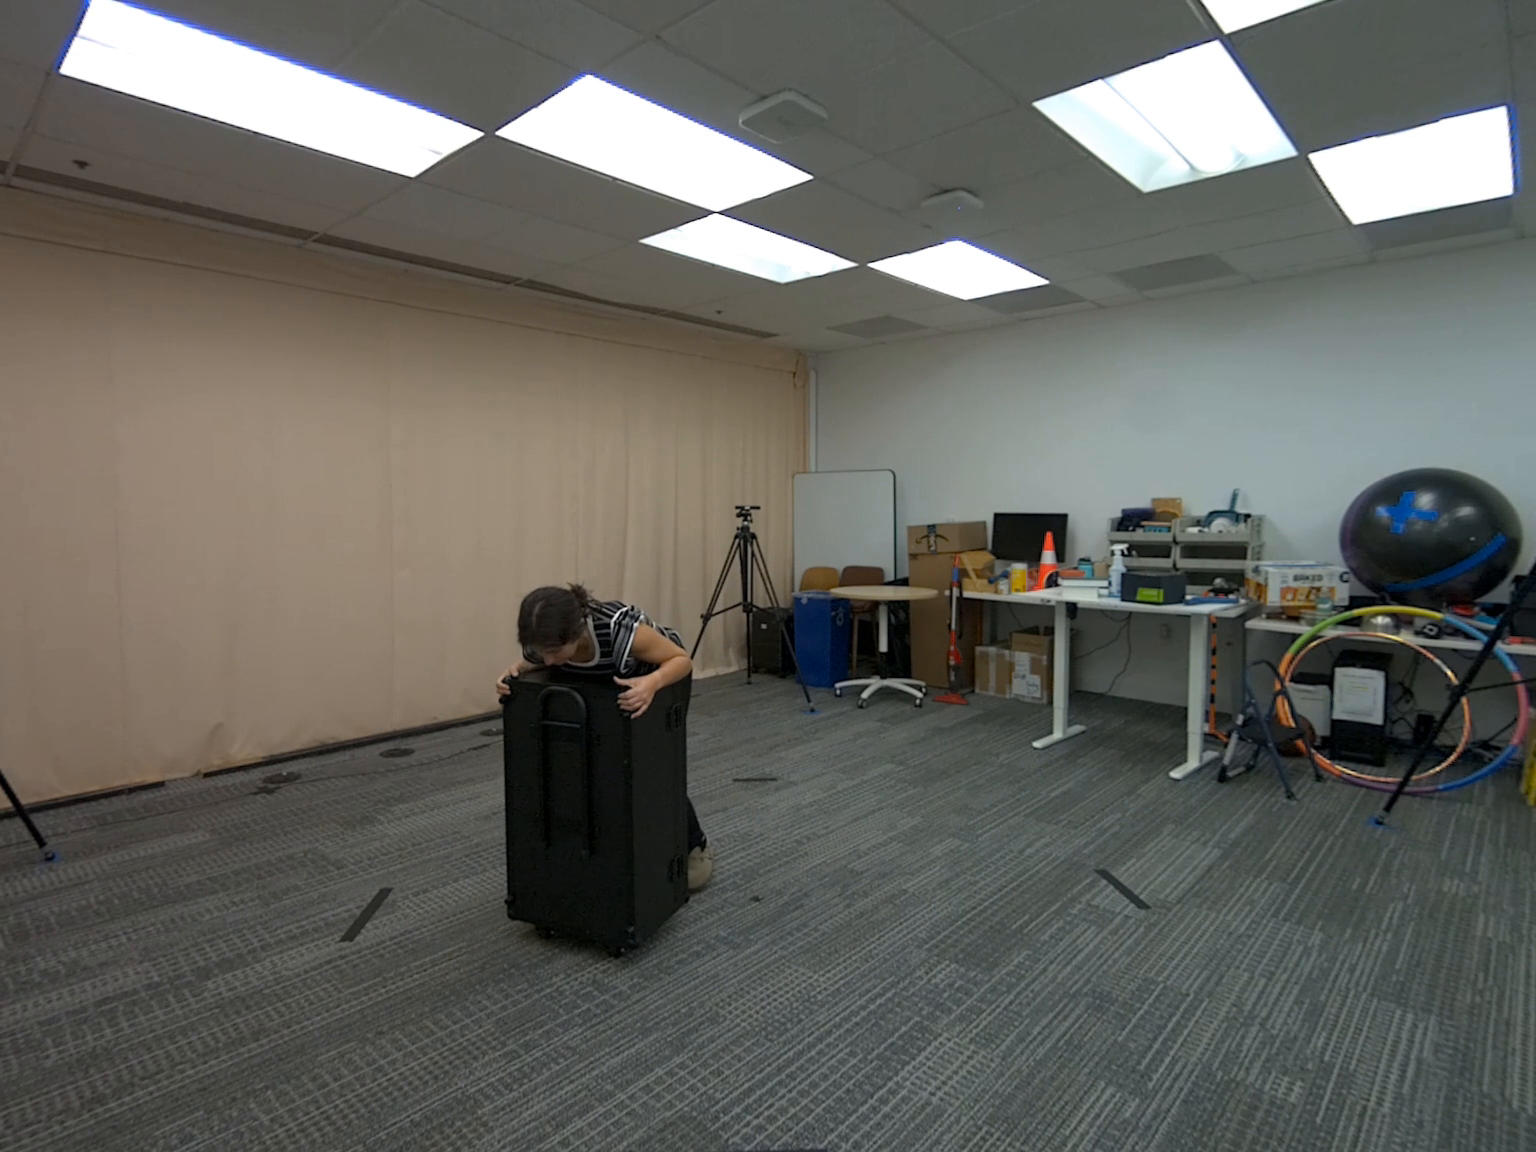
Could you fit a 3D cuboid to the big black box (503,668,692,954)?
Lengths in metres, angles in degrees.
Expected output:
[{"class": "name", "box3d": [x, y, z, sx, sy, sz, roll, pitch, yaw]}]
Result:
[{"class": "big black box", "box3d": [-0.557, 0.760, 2.733, 0.534, 0.859, 0.388, 1, 4, 23]}]
